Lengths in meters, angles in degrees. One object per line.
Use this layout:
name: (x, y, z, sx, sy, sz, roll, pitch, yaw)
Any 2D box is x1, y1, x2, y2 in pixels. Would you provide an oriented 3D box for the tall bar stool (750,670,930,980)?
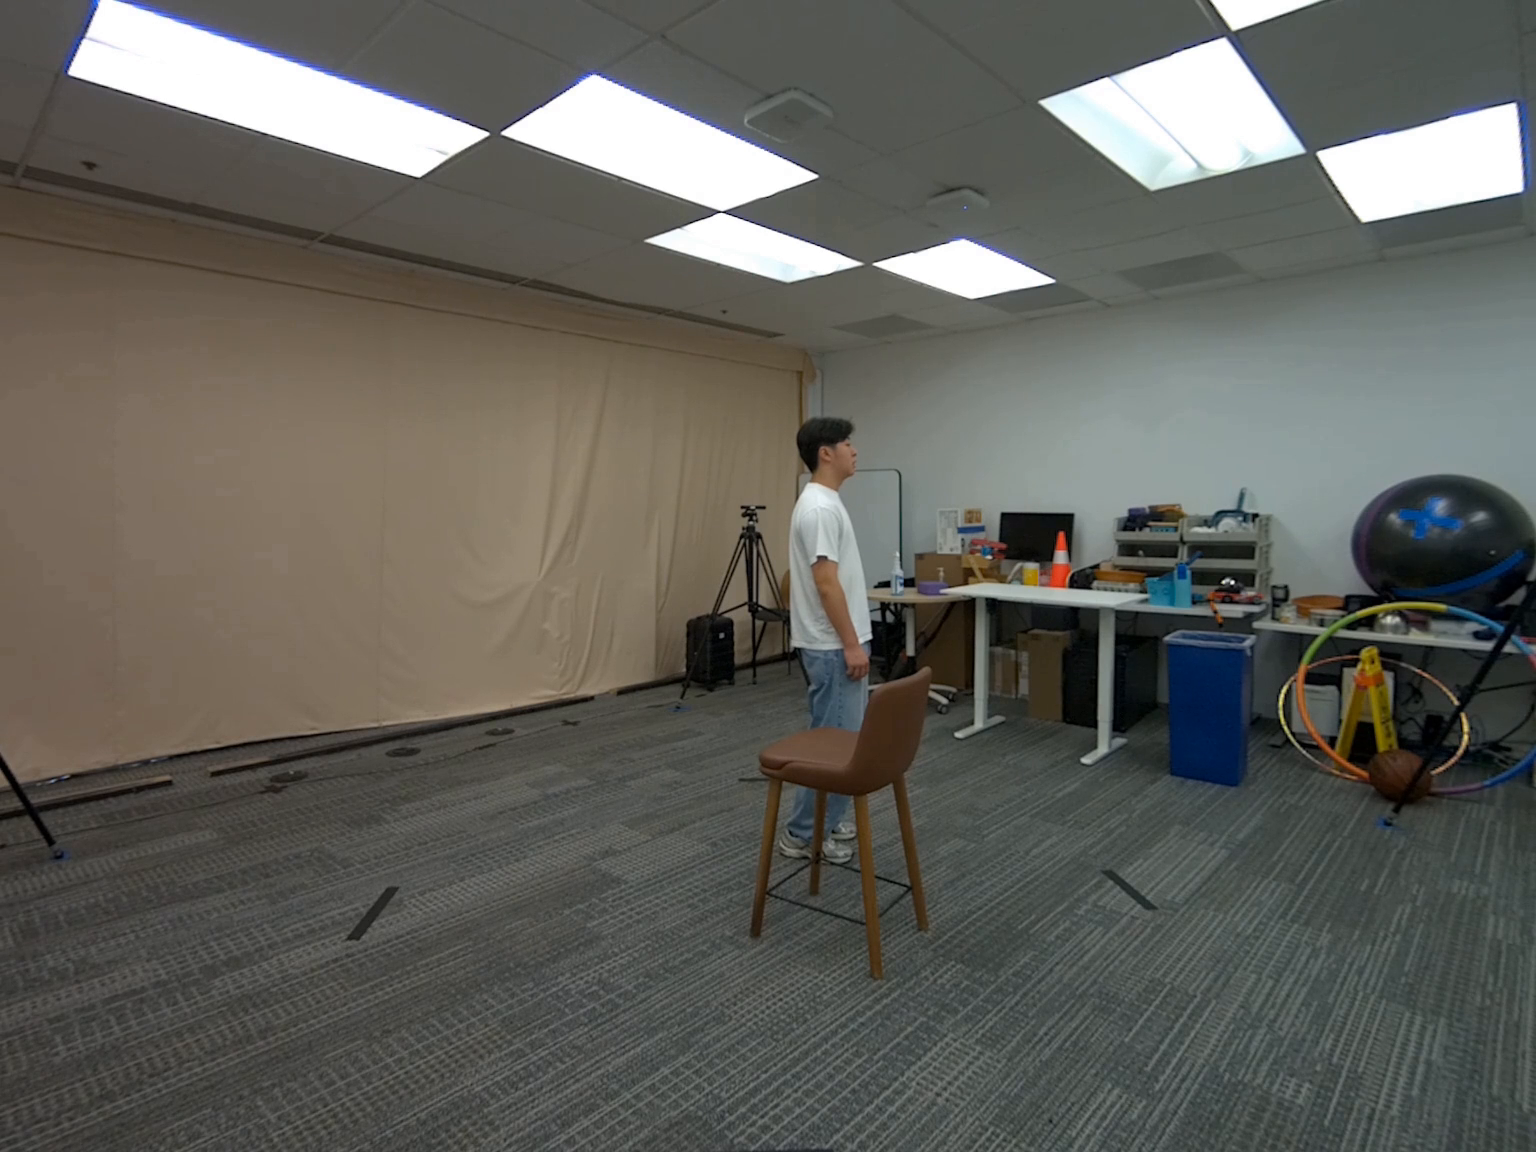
tall bar stool: (0.242, 0.728, 2.724, 0.483, 0.887, 0.443, 5, 6, 35)
